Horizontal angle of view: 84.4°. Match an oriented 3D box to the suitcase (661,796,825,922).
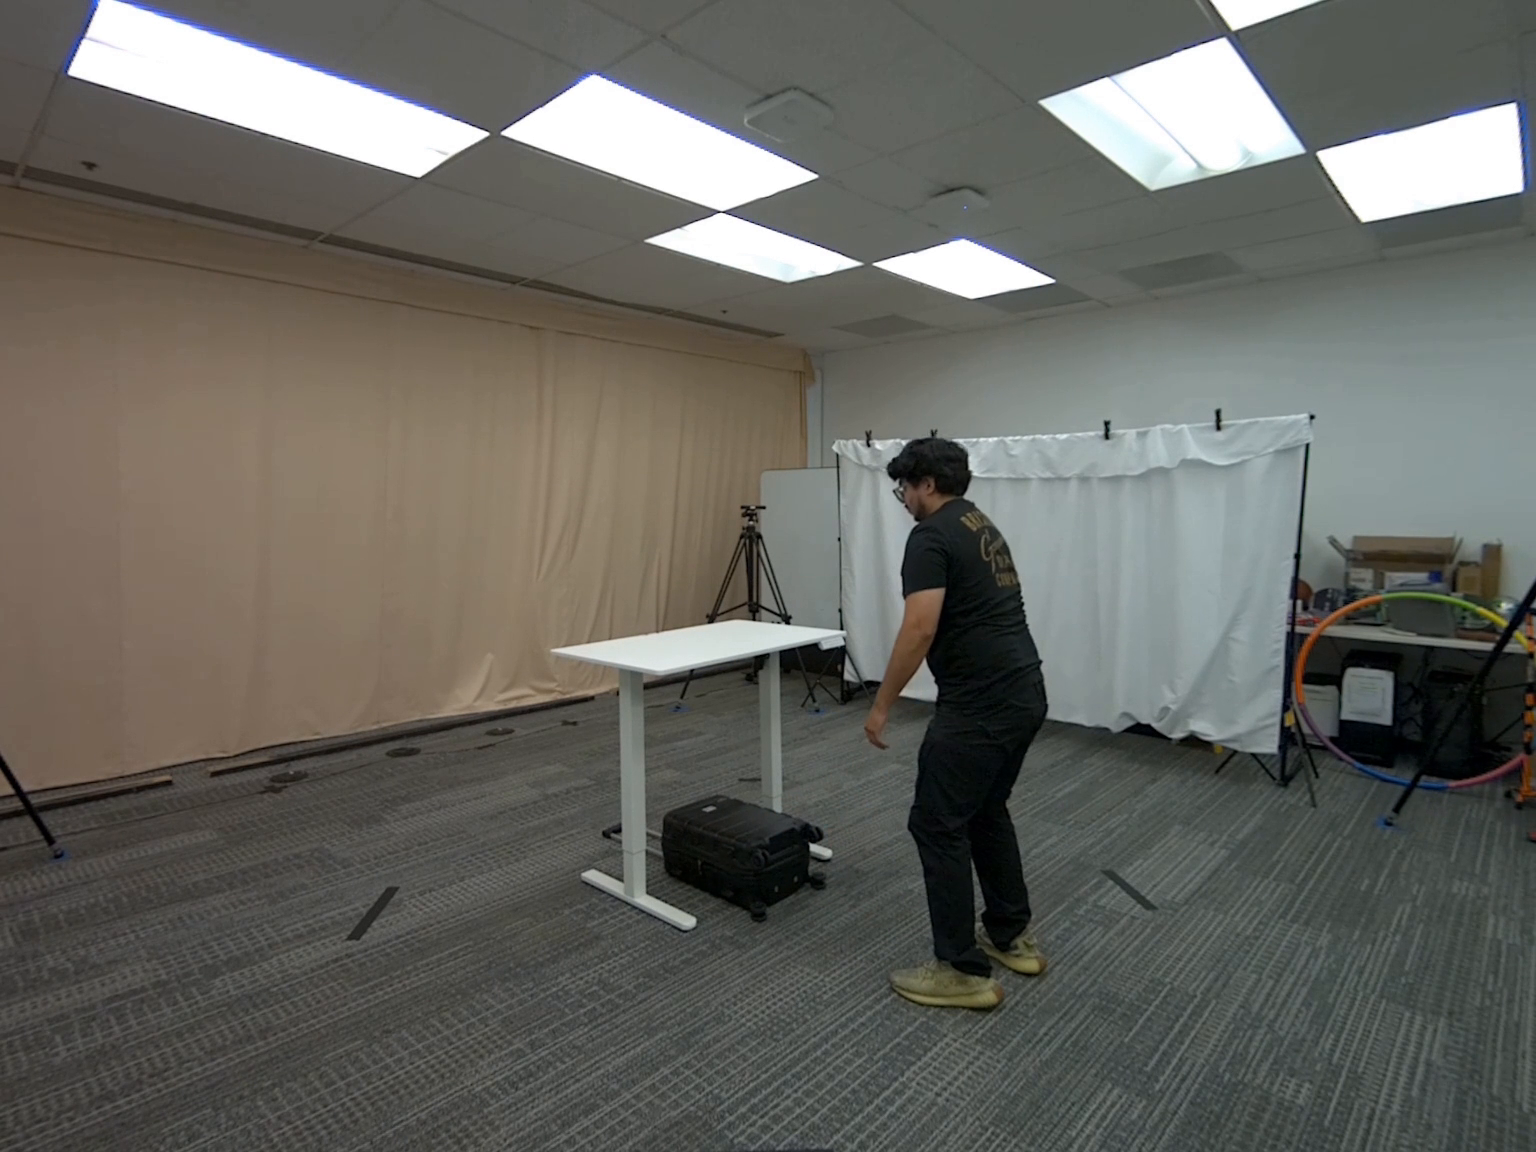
[{"bbox_3d":[-0.273,0.998,3.262,1.012,0.256,0.372,5,8,42],"label":"suitcase"}]
